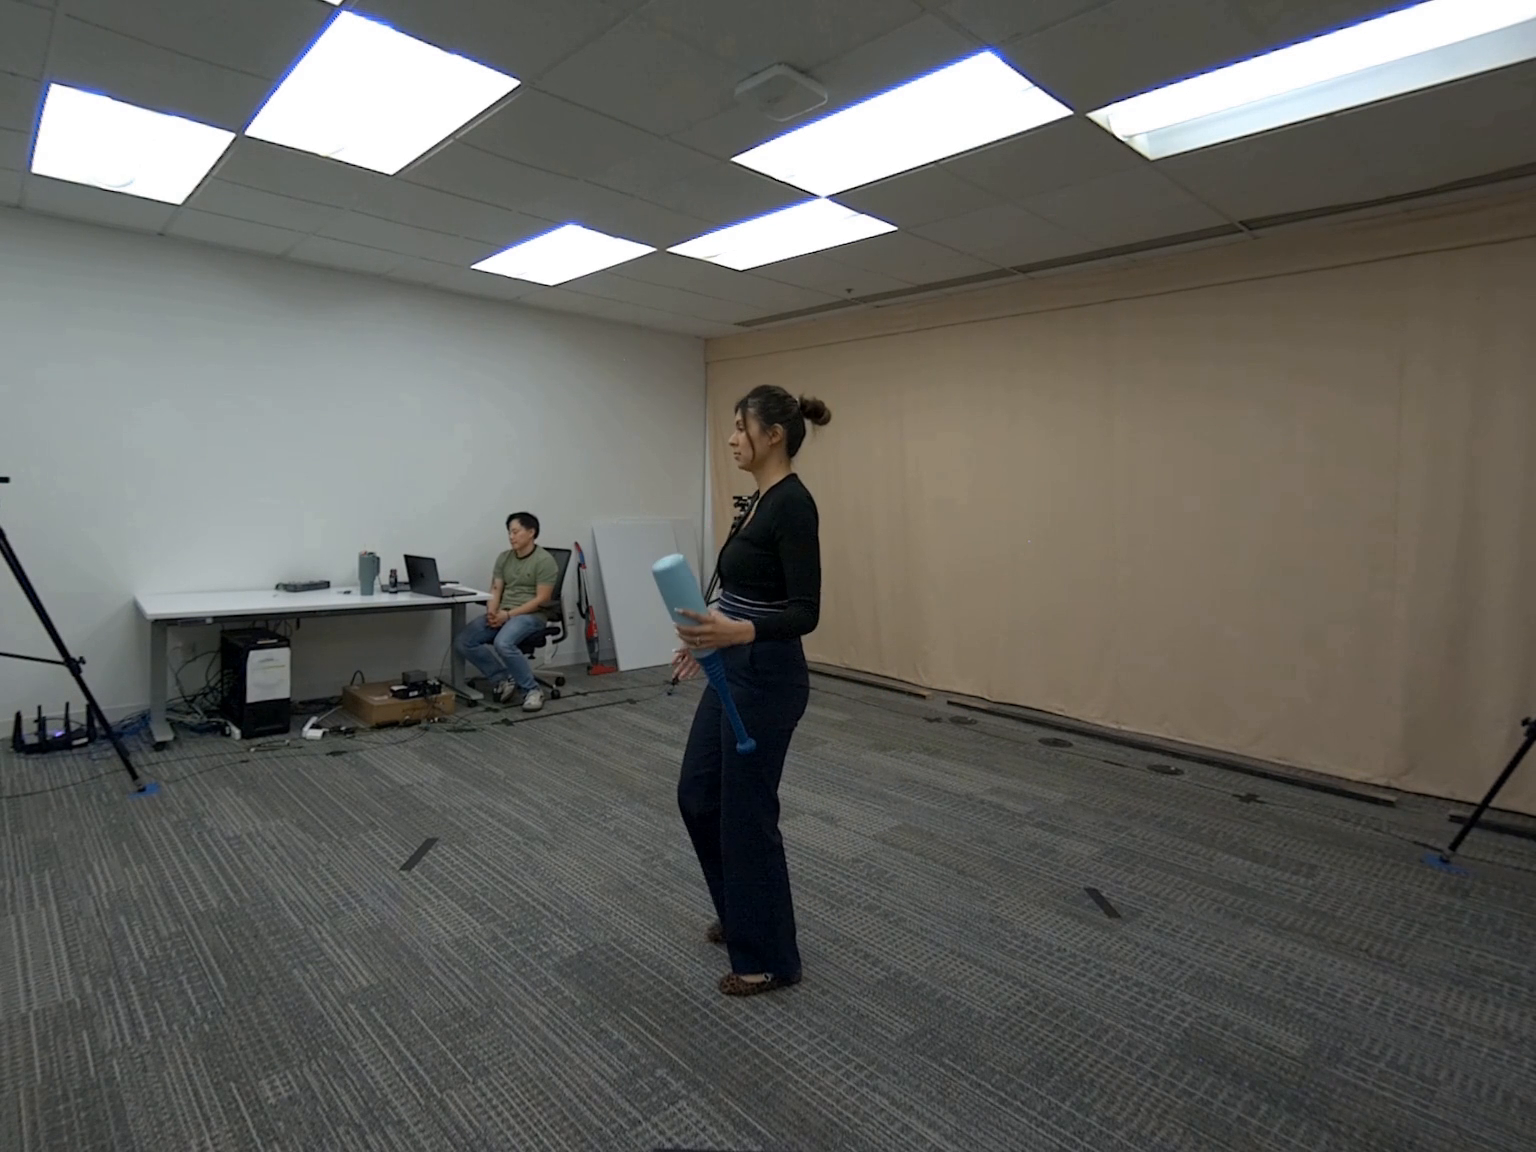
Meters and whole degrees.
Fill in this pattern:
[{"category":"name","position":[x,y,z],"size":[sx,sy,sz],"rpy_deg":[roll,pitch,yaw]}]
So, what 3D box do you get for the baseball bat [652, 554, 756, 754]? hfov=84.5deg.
[{"category":"baseball bat","position":[-0.157,0.188,2.029],"size":[0.089,0.534,0.090],"rpy_deg":[-18,18,5]}]
